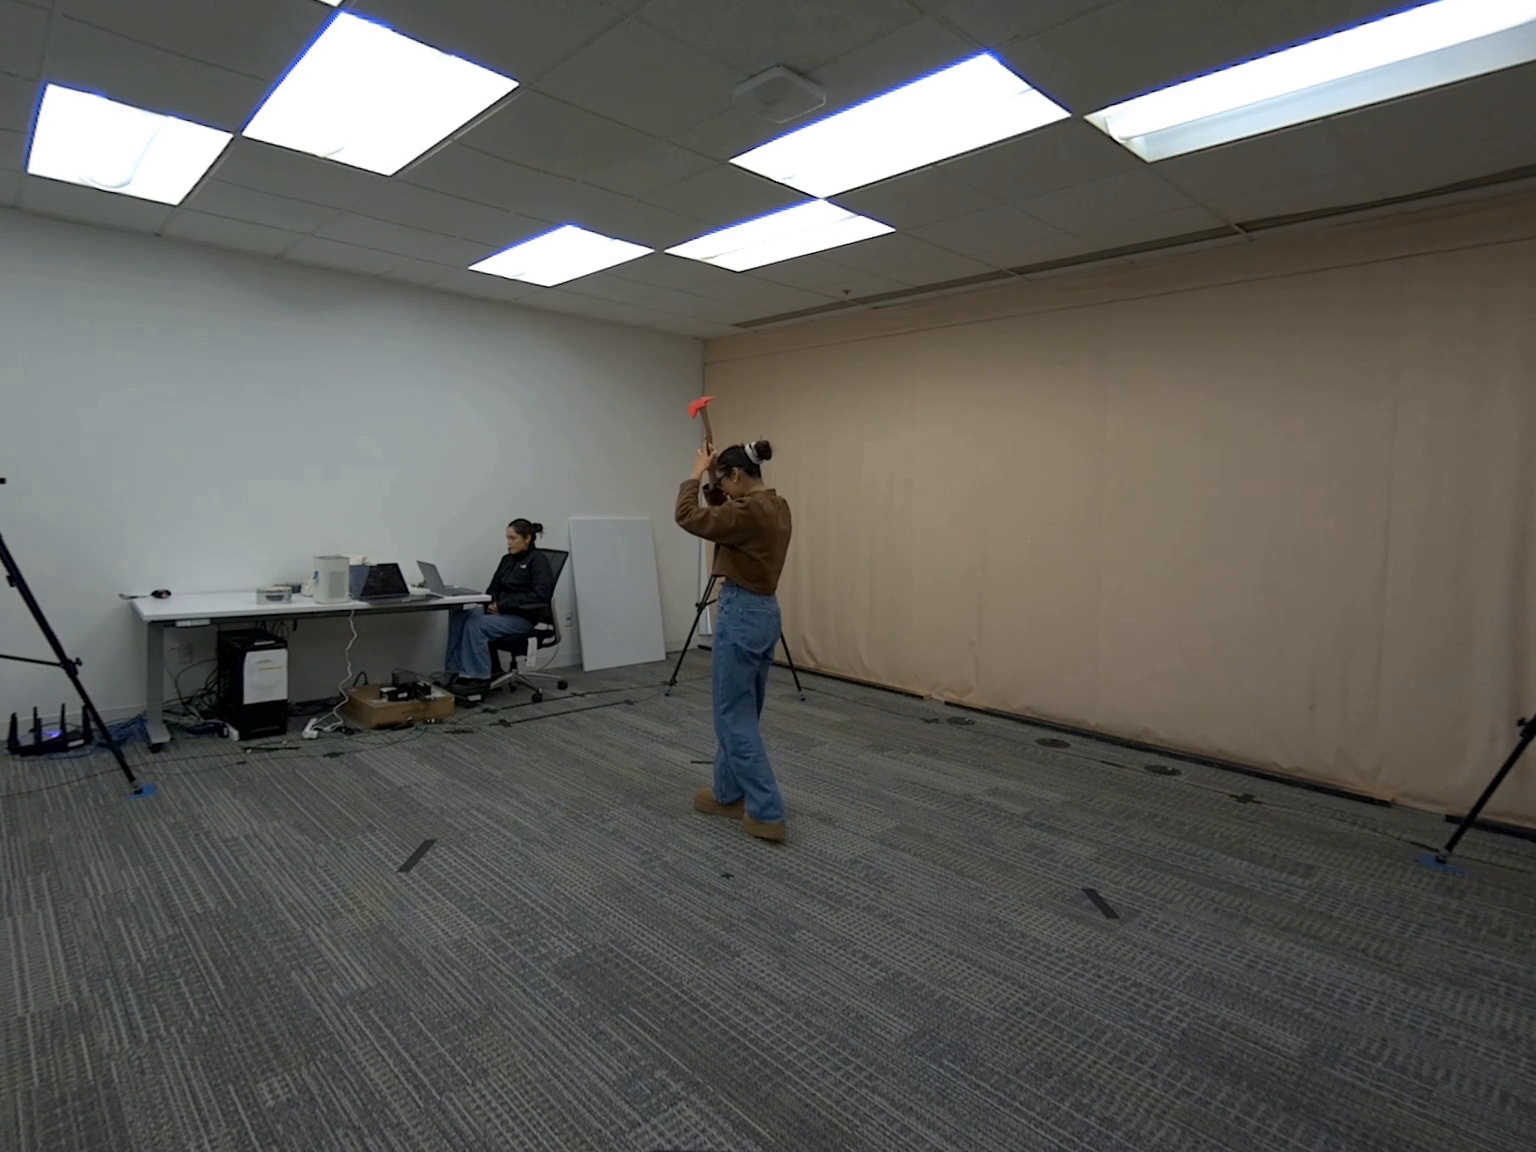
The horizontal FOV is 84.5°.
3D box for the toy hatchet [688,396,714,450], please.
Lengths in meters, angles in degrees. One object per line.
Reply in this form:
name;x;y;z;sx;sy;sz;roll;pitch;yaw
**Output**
toy hatchet;-0.312;-0.657;3.704;0.133;0.270;0.029;-1;-2;22
